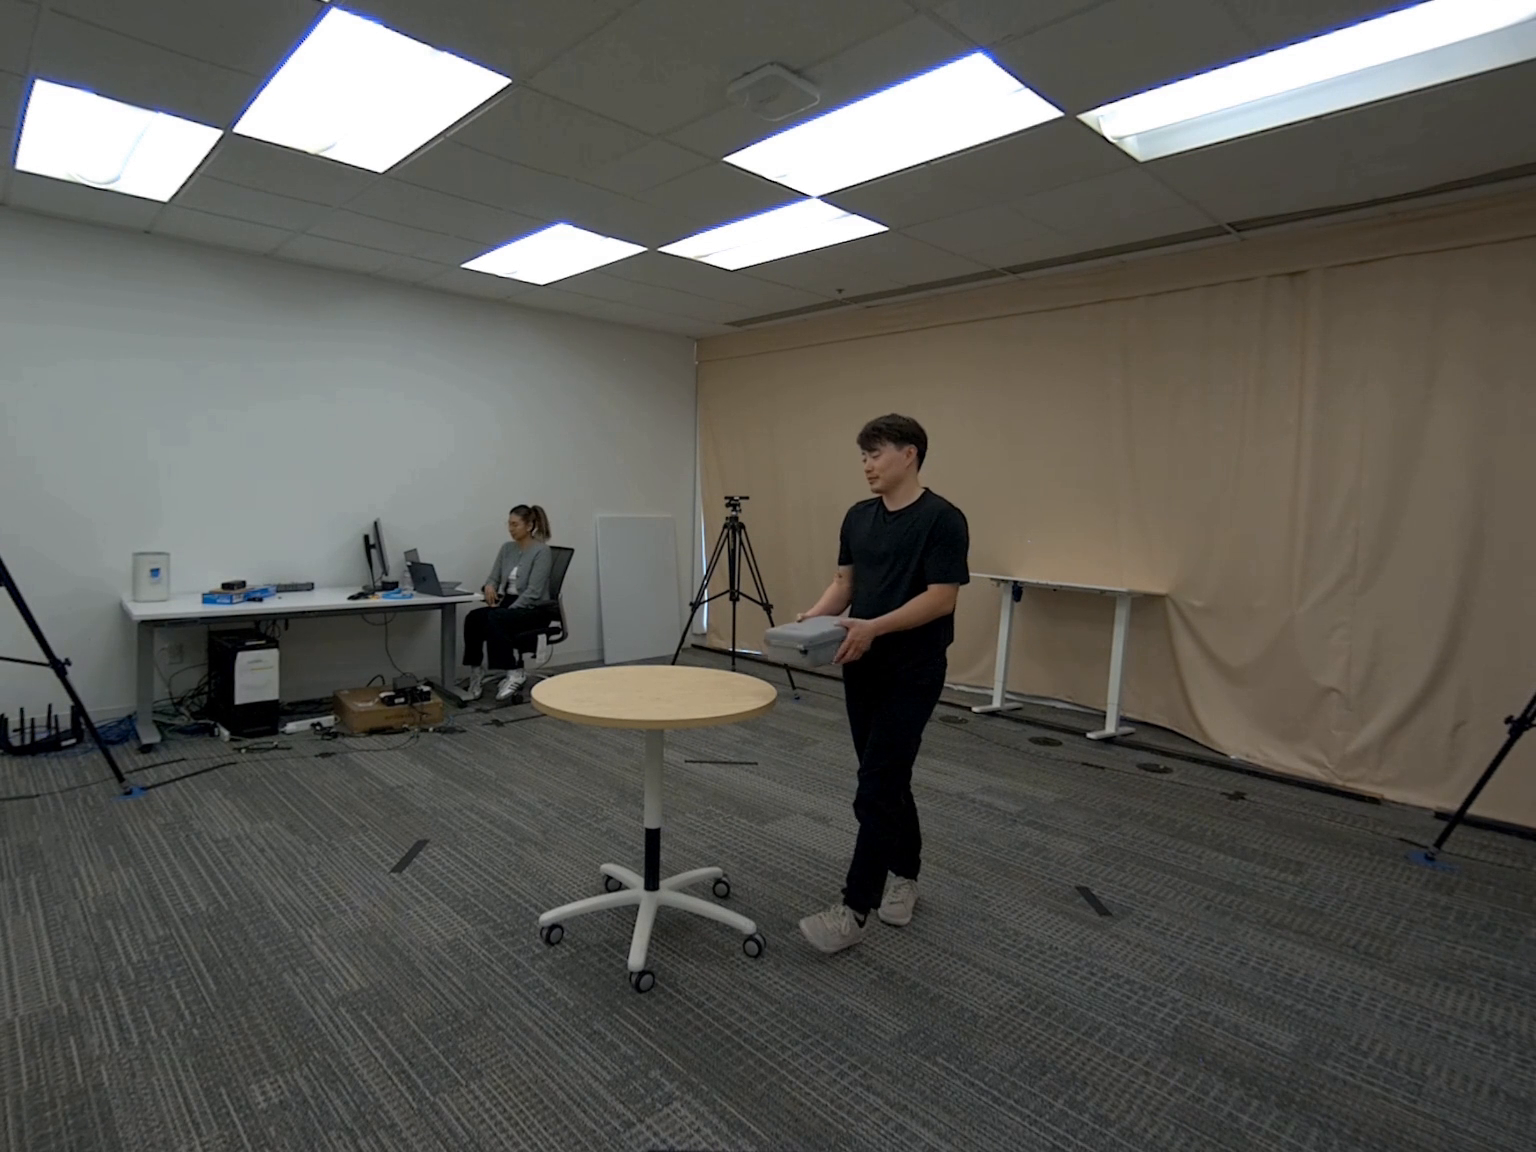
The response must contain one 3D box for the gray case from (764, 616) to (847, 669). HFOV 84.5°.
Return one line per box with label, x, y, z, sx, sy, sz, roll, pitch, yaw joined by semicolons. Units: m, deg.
gray case;0.138;0.200;2.618;0.256;0.104;0.262;-12;7;-35
